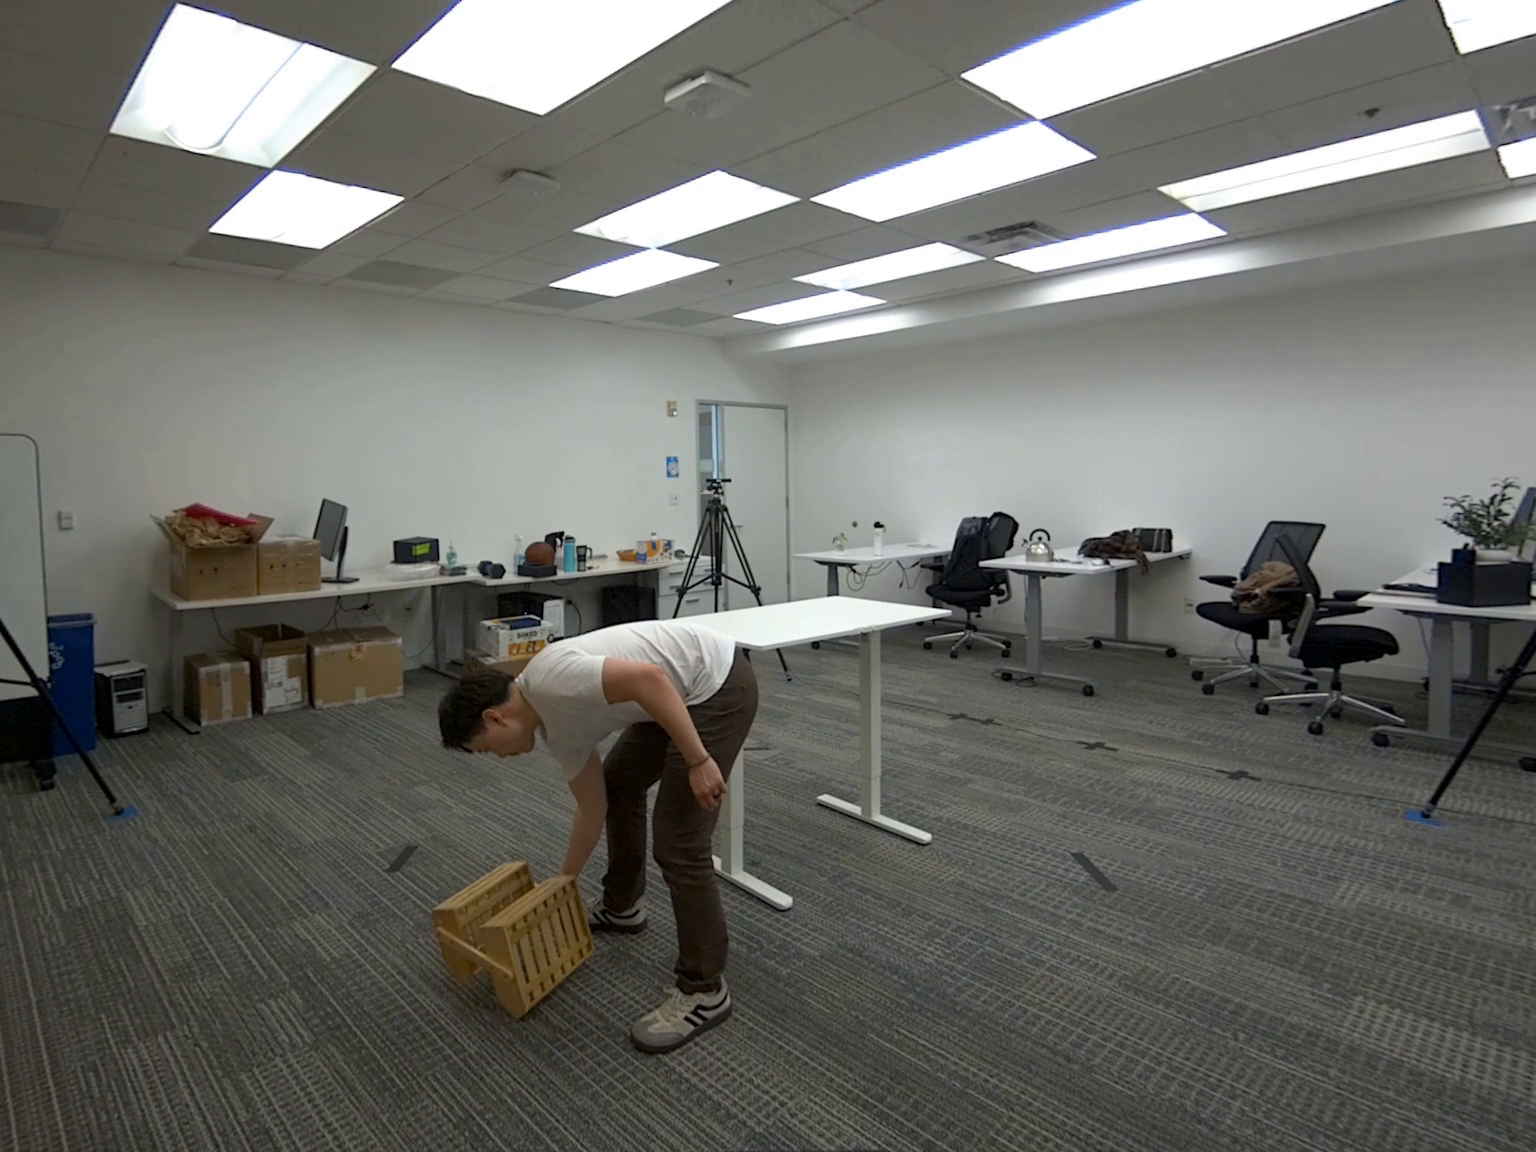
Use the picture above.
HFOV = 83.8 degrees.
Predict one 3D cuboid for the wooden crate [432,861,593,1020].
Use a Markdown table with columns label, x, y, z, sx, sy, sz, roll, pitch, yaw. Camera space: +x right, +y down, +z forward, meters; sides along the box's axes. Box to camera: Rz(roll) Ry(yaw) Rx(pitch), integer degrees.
| label | x | y | z | sx | sy | sz | roll | pitch | yaw |
| --- | --- | --- | --- | --- | --- | --- | --- | --- | --- |
| wooden crate | -0.717 | 1.002 | 2.415 | 0.278 | 0.302 | 0.319 | -14 | 1 | 27 |
